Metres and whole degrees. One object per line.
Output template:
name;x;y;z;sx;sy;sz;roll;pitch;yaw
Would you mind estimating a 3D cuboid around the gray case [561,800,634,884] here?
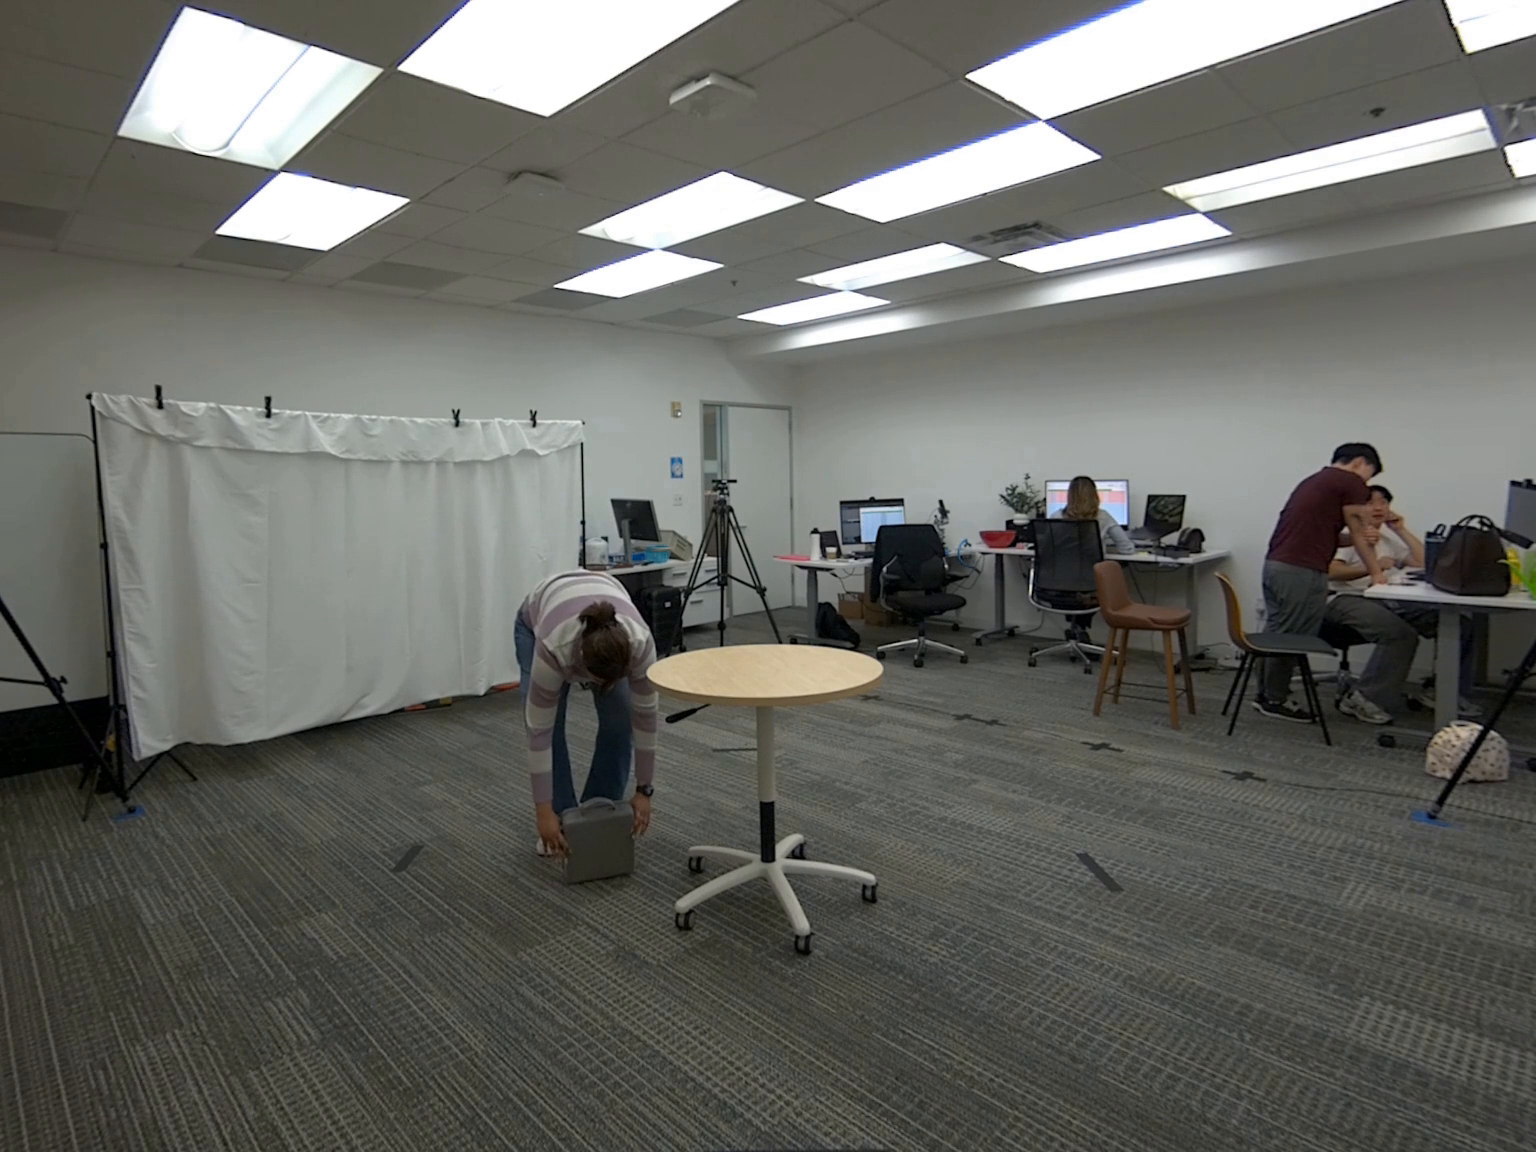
gray case;-0.599;0.926;3.019;0.253;0.258;0.107;-3;13;-16
